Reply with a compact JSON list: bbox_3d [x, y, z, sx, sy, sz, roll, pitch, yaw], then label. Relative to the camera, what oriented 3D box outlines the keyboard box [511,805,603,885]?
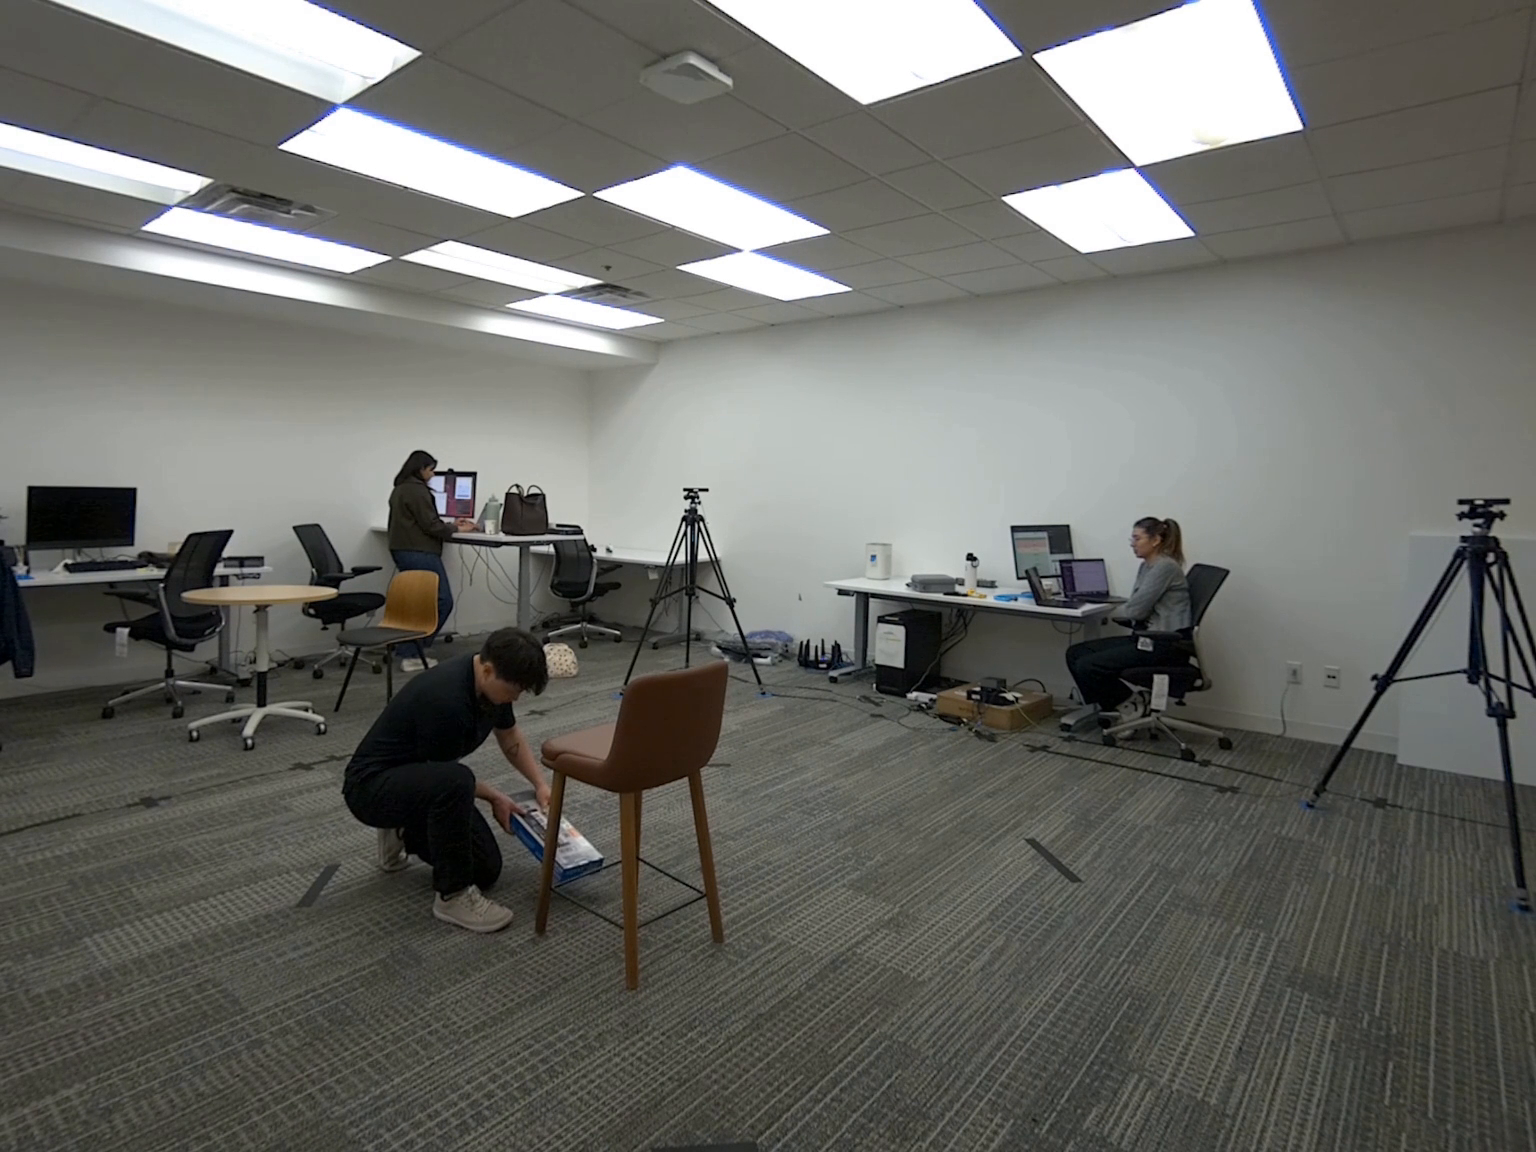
[{"bbox_3d":[-0.789,0.912,2.983,0.455,0.058,0.170,28,18,39],"label":"keyboard box"}]
